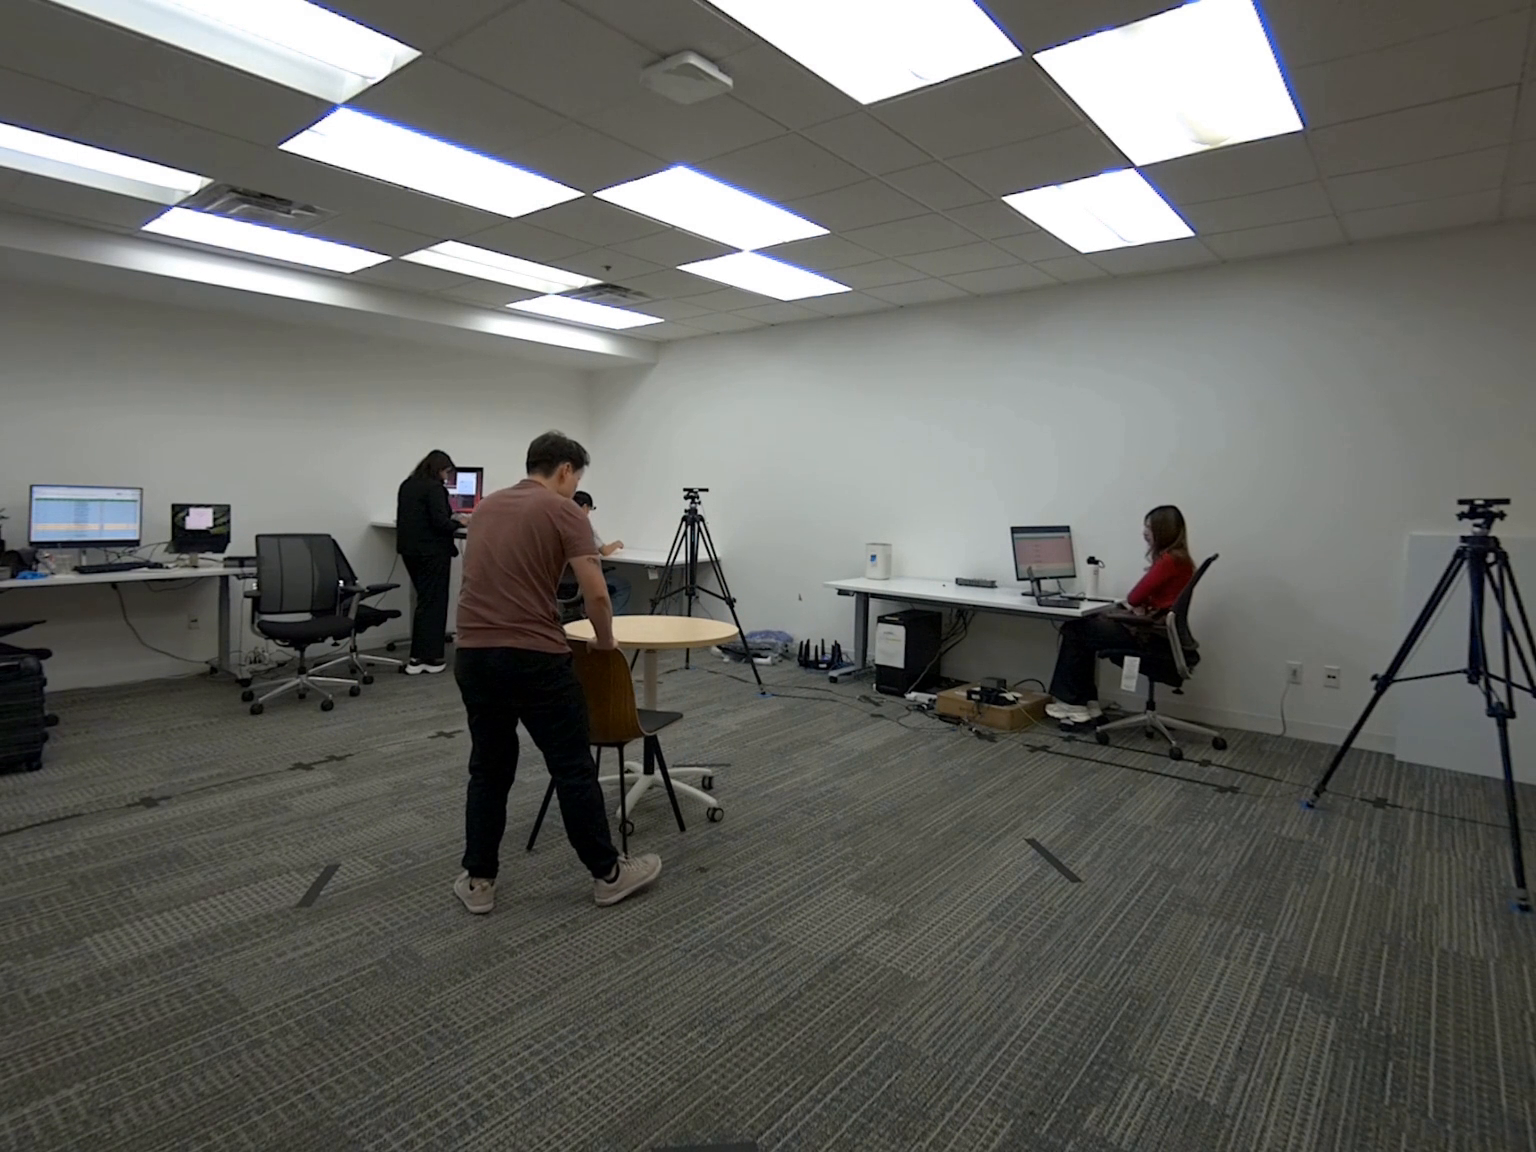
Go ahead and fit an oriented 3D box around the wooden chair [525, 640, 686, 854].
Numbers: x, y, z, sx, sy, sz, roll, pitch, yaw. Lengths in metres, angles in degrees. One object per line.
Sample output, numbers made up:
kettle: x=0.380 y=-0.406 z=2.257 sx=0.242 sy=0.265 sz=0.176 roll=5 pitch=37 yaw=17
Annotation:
wooden chair: x=-0.627 y=0.613 z=3.332 sx=0.490 sy=0.871 sz=0.513 roll=2 pitch=8 yaw=24
